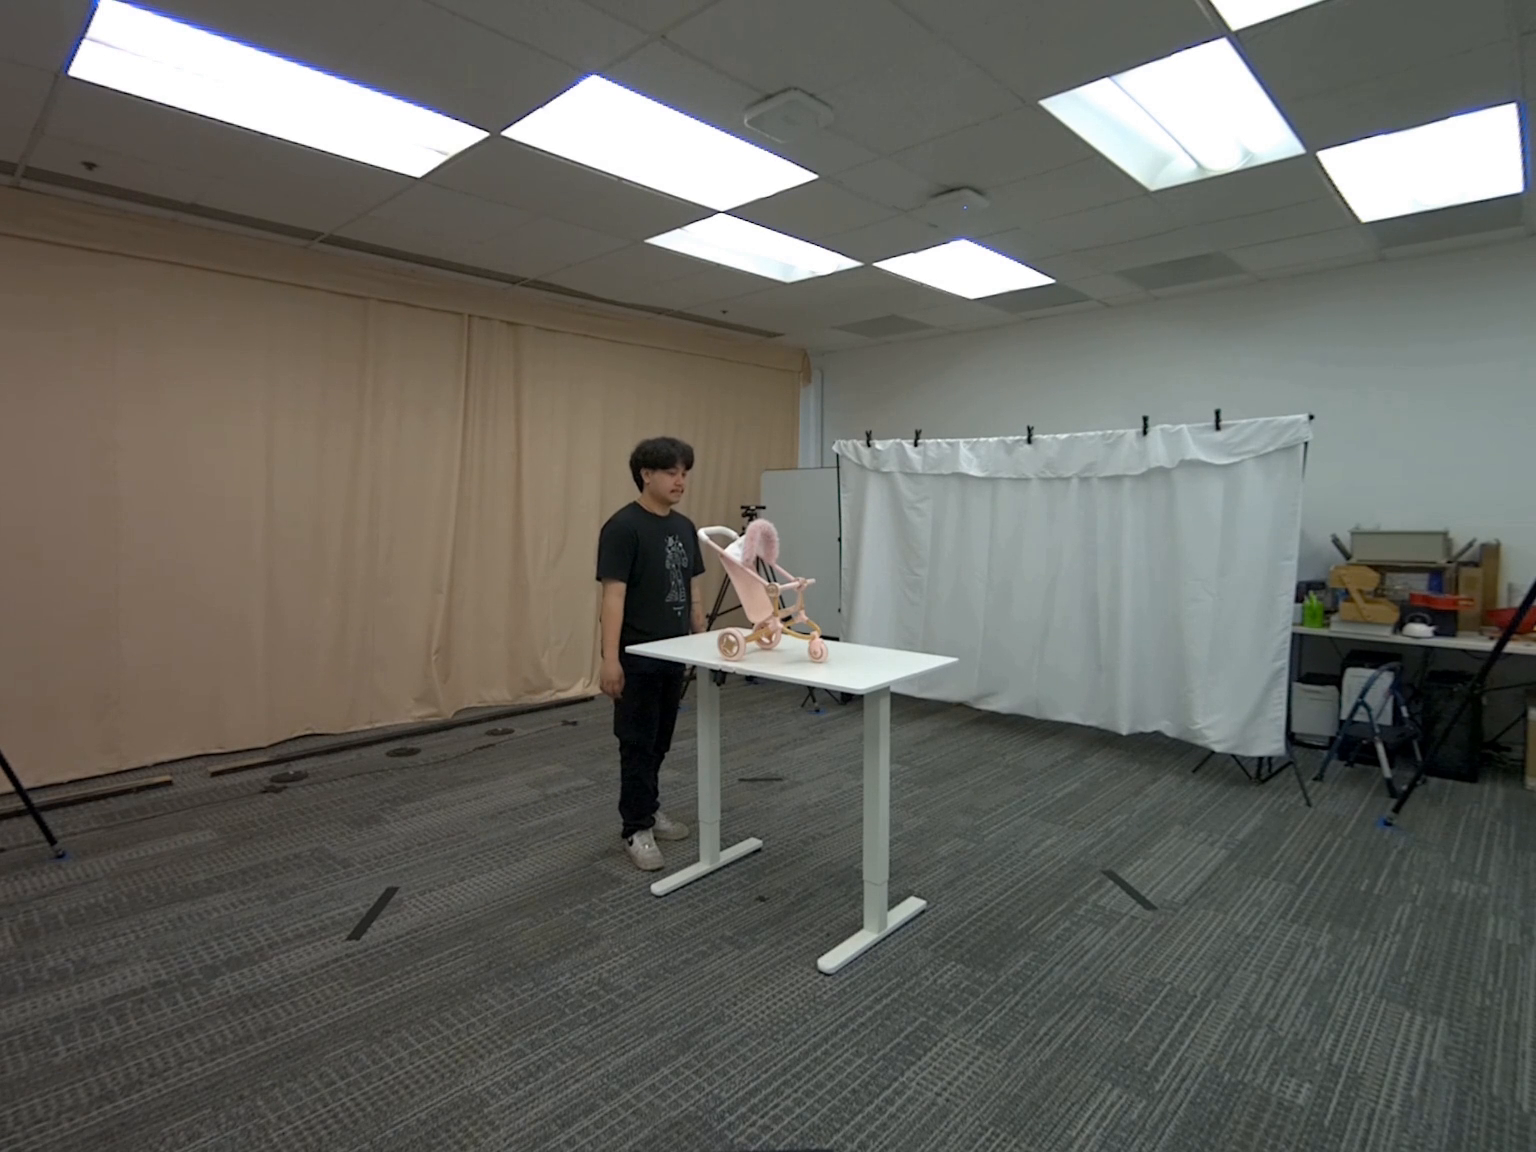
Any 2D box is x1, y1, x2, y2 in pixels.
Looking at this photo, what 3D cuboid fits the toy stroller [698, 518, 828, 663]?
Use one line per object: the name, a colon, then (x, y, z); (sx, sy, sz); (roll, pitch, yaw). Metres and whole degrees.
toy stroller: (-0.003, 0.052, 2.825); (0.349, 0.537, 0.273); (-16, -6, 34)
